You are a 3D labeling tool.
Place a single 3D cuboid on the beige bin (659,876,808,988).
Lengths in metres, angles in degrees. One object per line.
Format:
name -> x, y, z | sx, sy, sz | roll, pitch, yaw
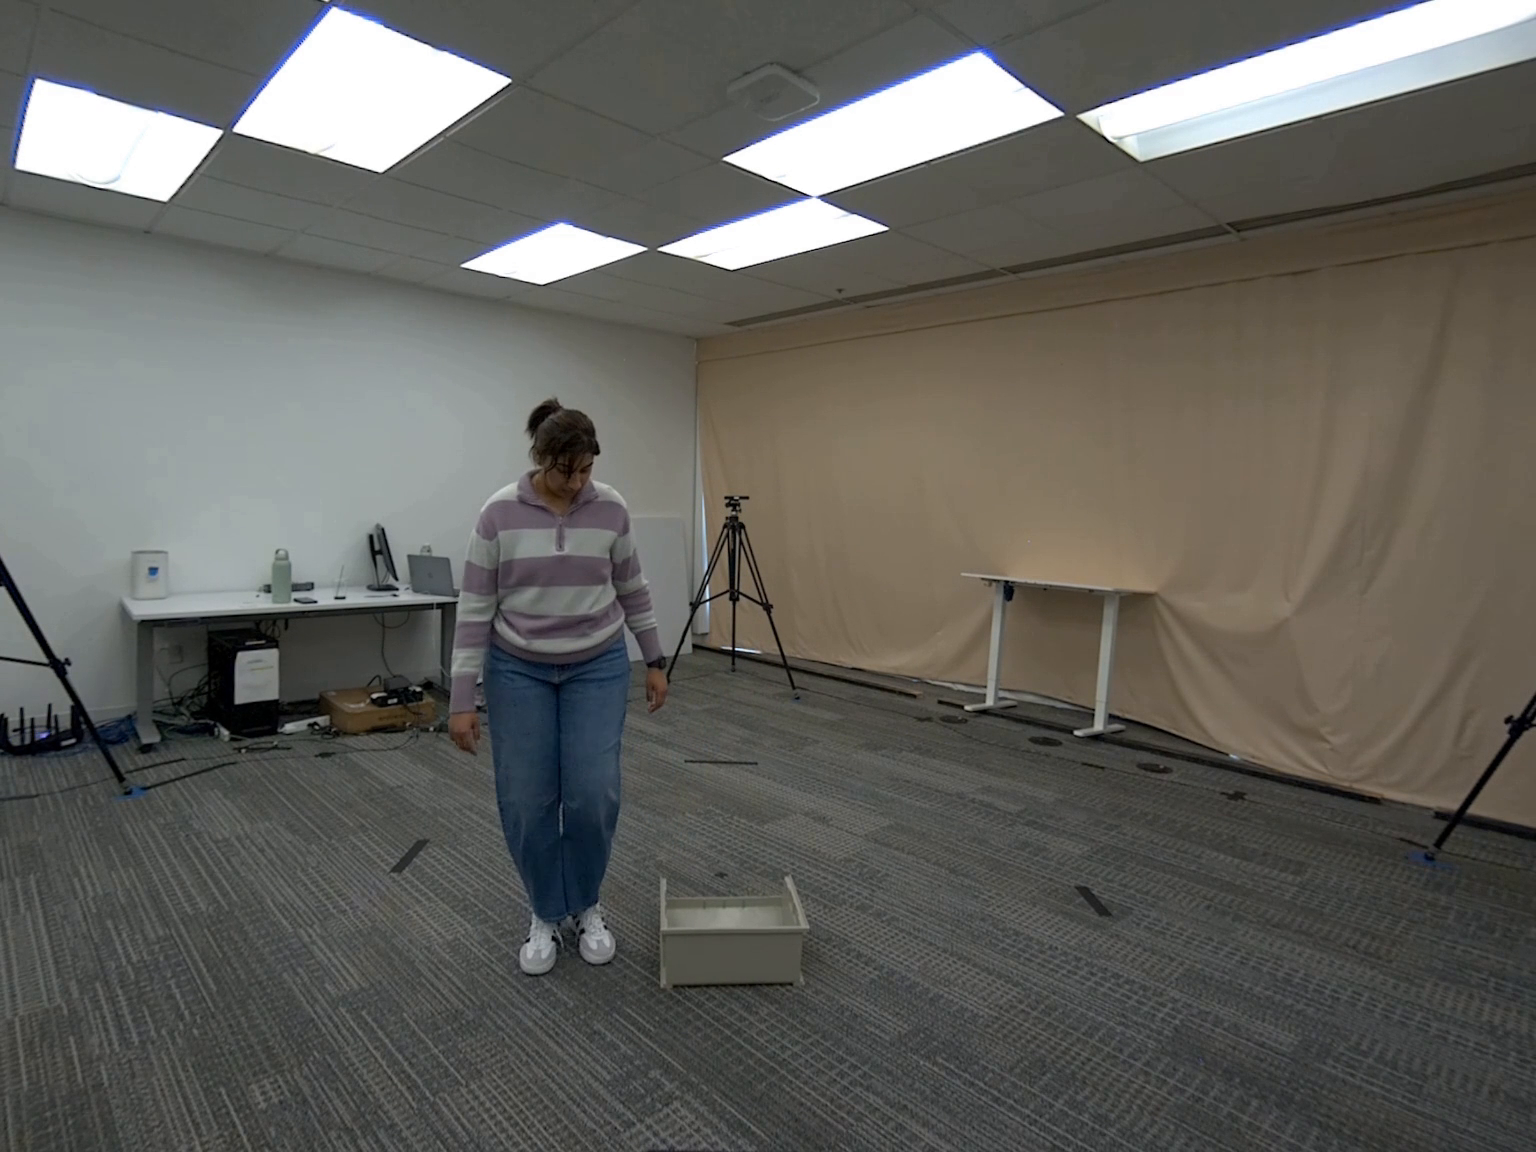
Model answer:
beige bin -> -0.128, 1.065, 2.562 | 0.420, 0.188, 0.380 | 2, 5, -7
